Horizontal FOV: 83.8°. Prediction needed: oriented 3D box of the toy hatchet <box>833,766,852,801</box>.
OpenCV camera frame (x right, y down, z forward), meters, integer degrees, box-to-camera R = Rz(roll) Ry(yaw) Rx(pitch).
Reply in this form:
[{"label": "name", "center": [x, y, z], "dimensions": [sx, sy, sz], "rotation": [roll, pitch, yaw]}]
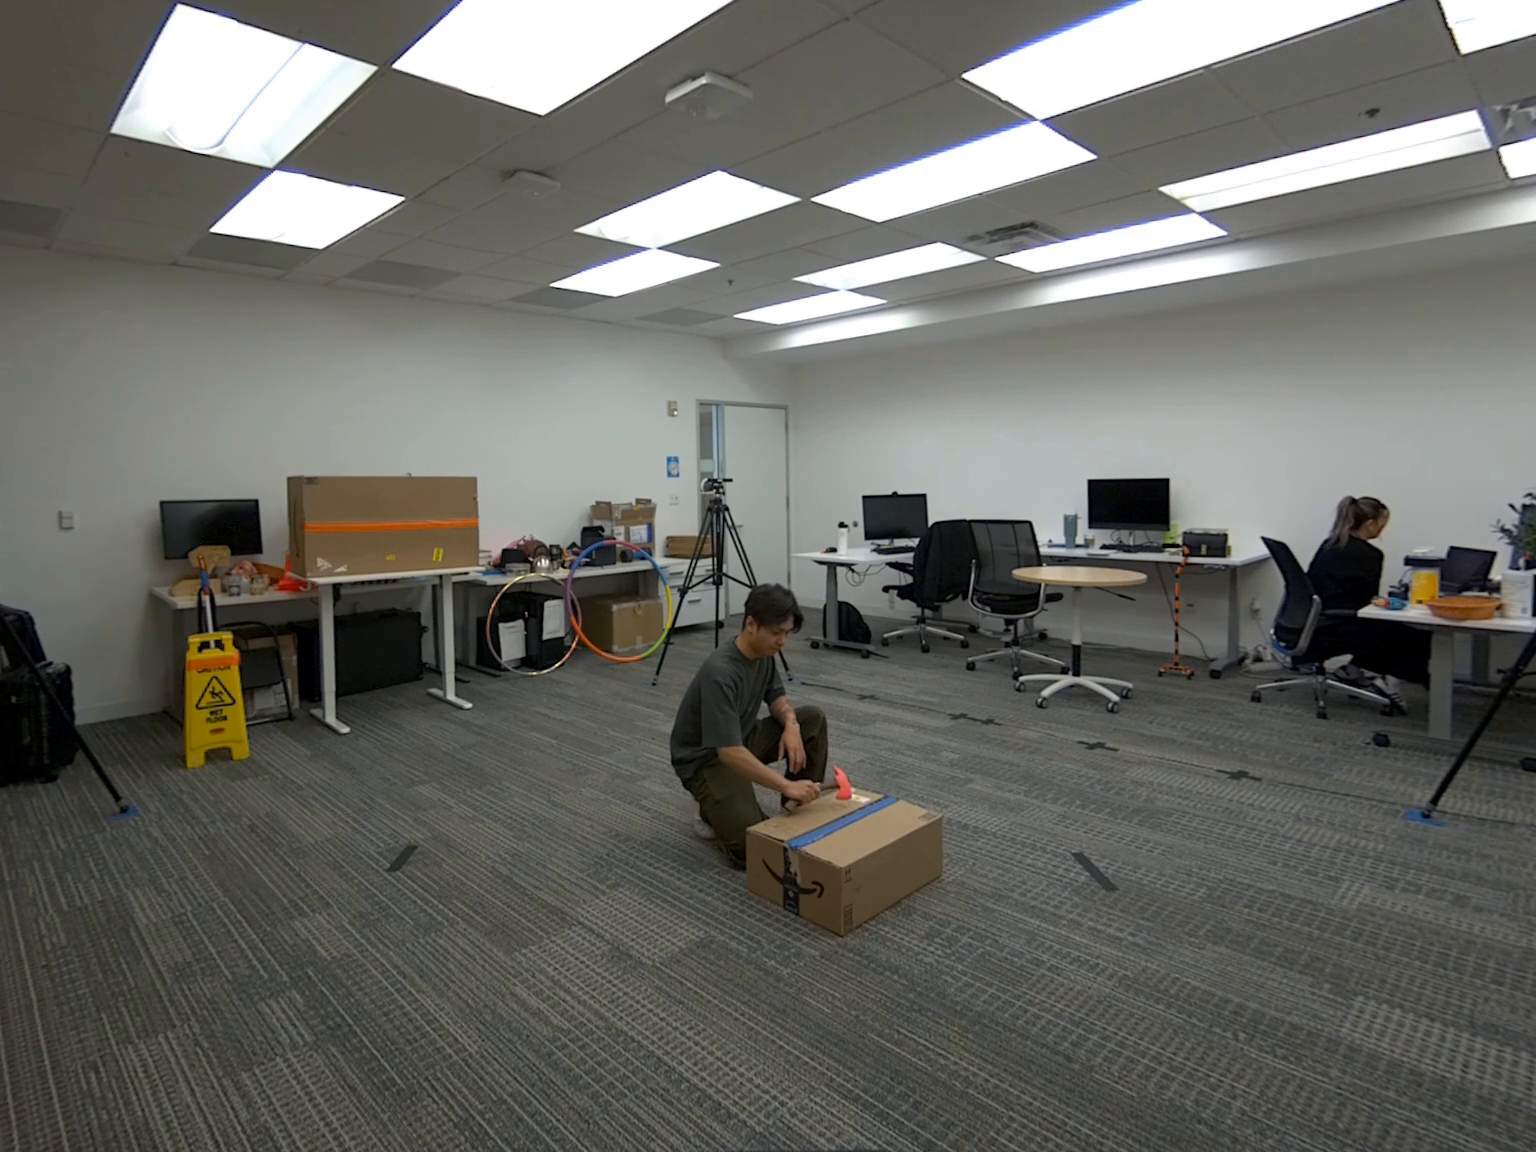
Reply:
[{"label": "toy hatchet", "center": [0.180, 0.792, 3.043], "dimensions": [0.267, 0.029, 0.135], "rotation": [-29, 60, -28]}]
